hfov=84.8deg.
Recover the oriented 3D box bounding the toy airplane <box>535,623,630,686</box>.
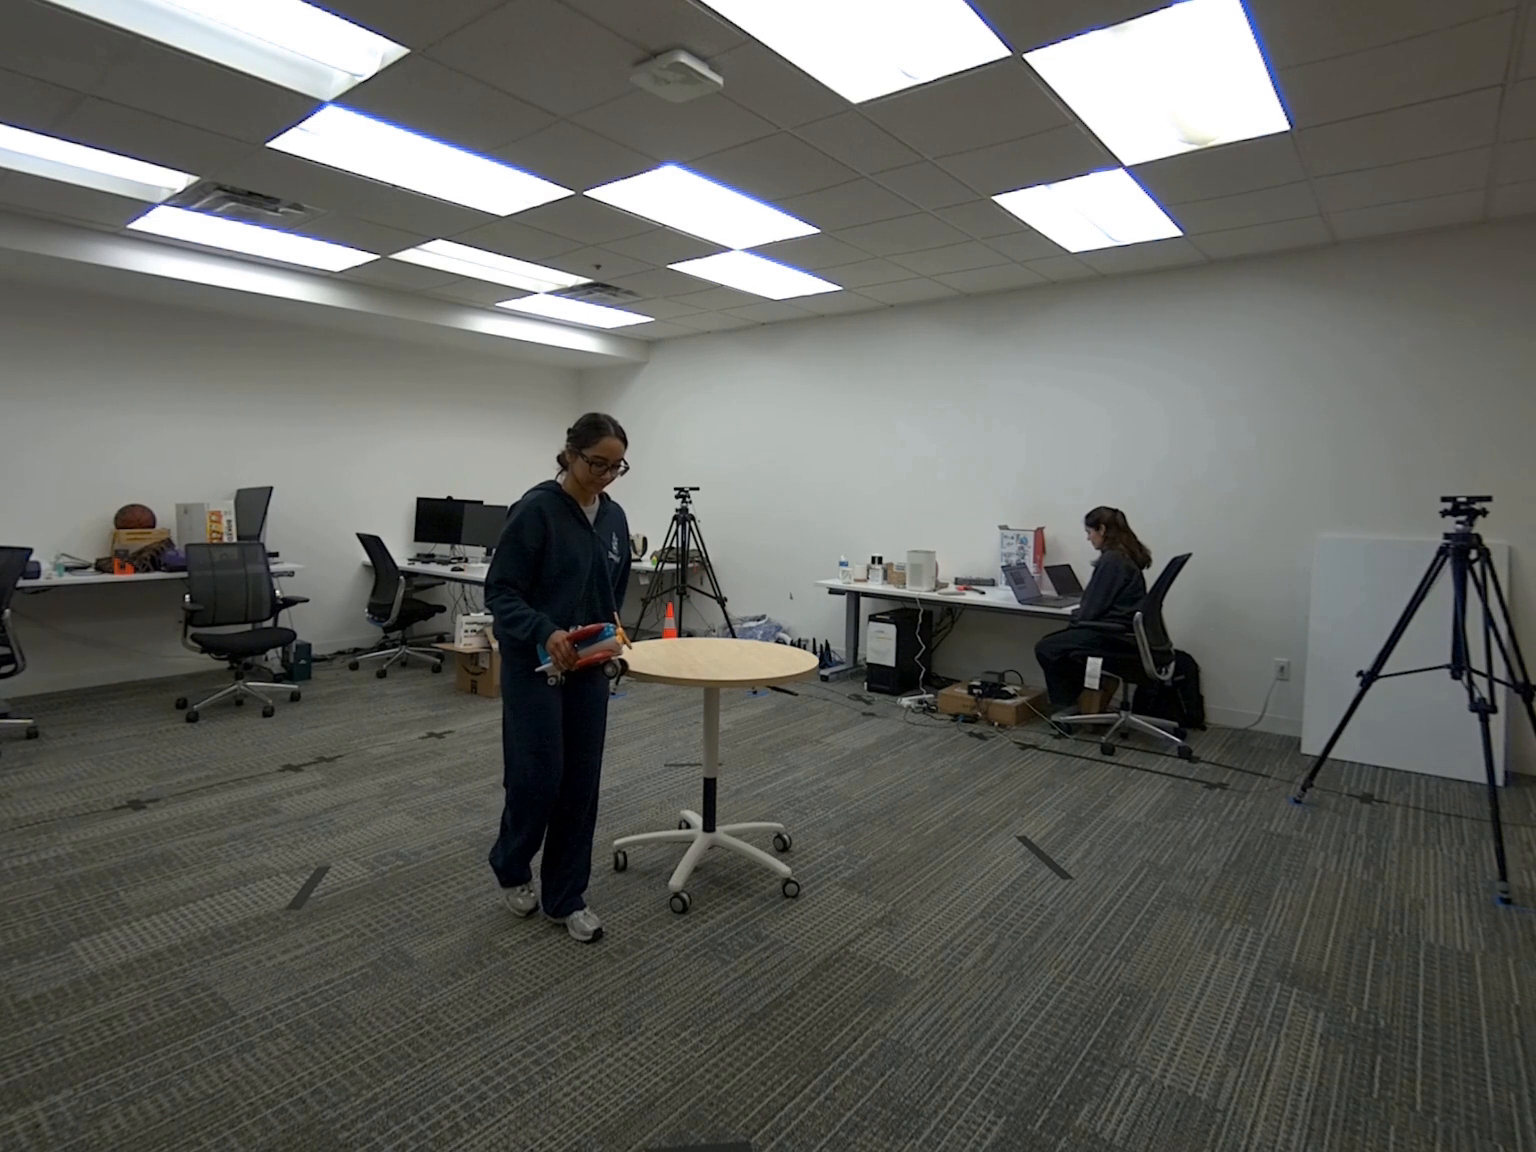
[{"bbox_3d":[-0.531,0.220,2.353,0.254,0.157,0.254,-7,-4,-21],"label":"toy airplane"}]
